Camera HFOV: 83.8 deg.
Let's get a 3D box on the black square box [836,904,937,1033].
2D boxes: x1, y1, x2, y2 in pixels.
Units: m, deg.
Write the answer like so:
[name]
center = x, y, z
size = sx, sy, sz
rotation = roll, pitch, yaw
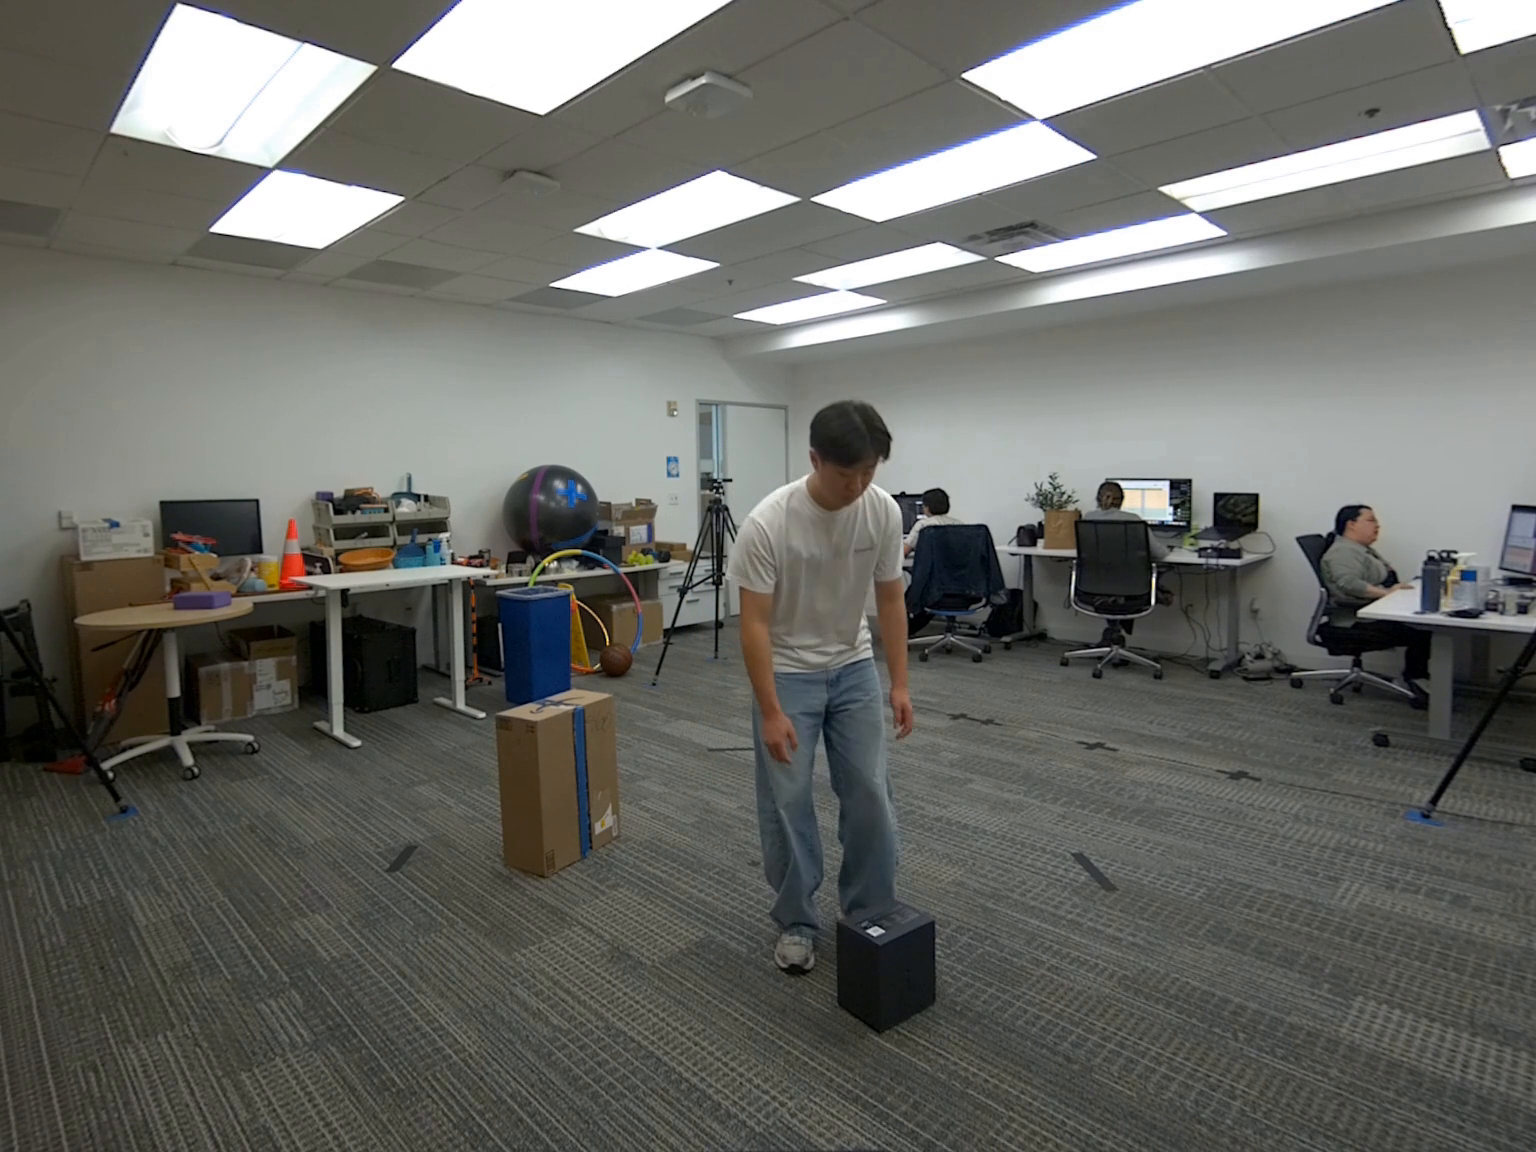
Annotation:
[black square box]
center = 0.319, 1.022, 2.256
size = 0.211, 0.227, 0.160
rotation = -5, 5, -37
